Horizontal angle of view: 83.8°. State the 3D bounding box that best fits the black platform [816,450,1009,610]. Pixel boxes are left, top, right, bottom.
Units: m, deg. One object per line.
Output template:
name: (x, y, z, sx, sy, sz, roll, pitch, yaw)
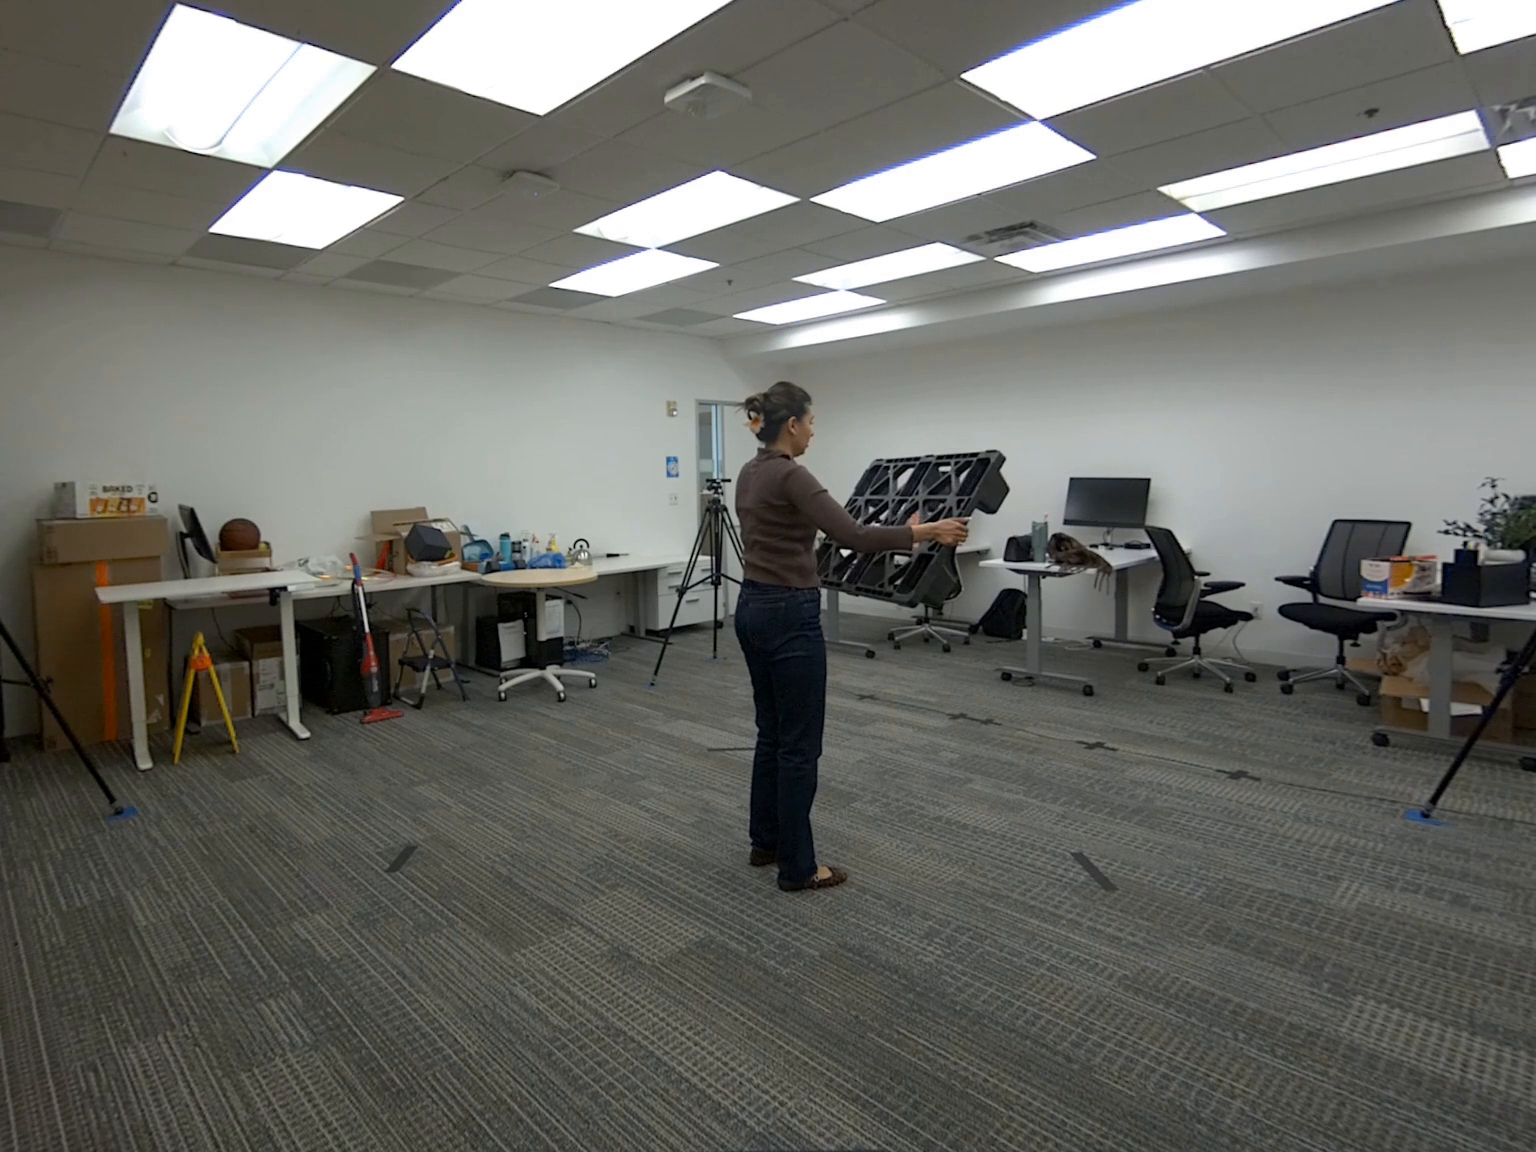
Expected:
black platform: (0.480, -0.160, 3.109, 0.140, 0.606, 0.824, 36, -9, -22)
